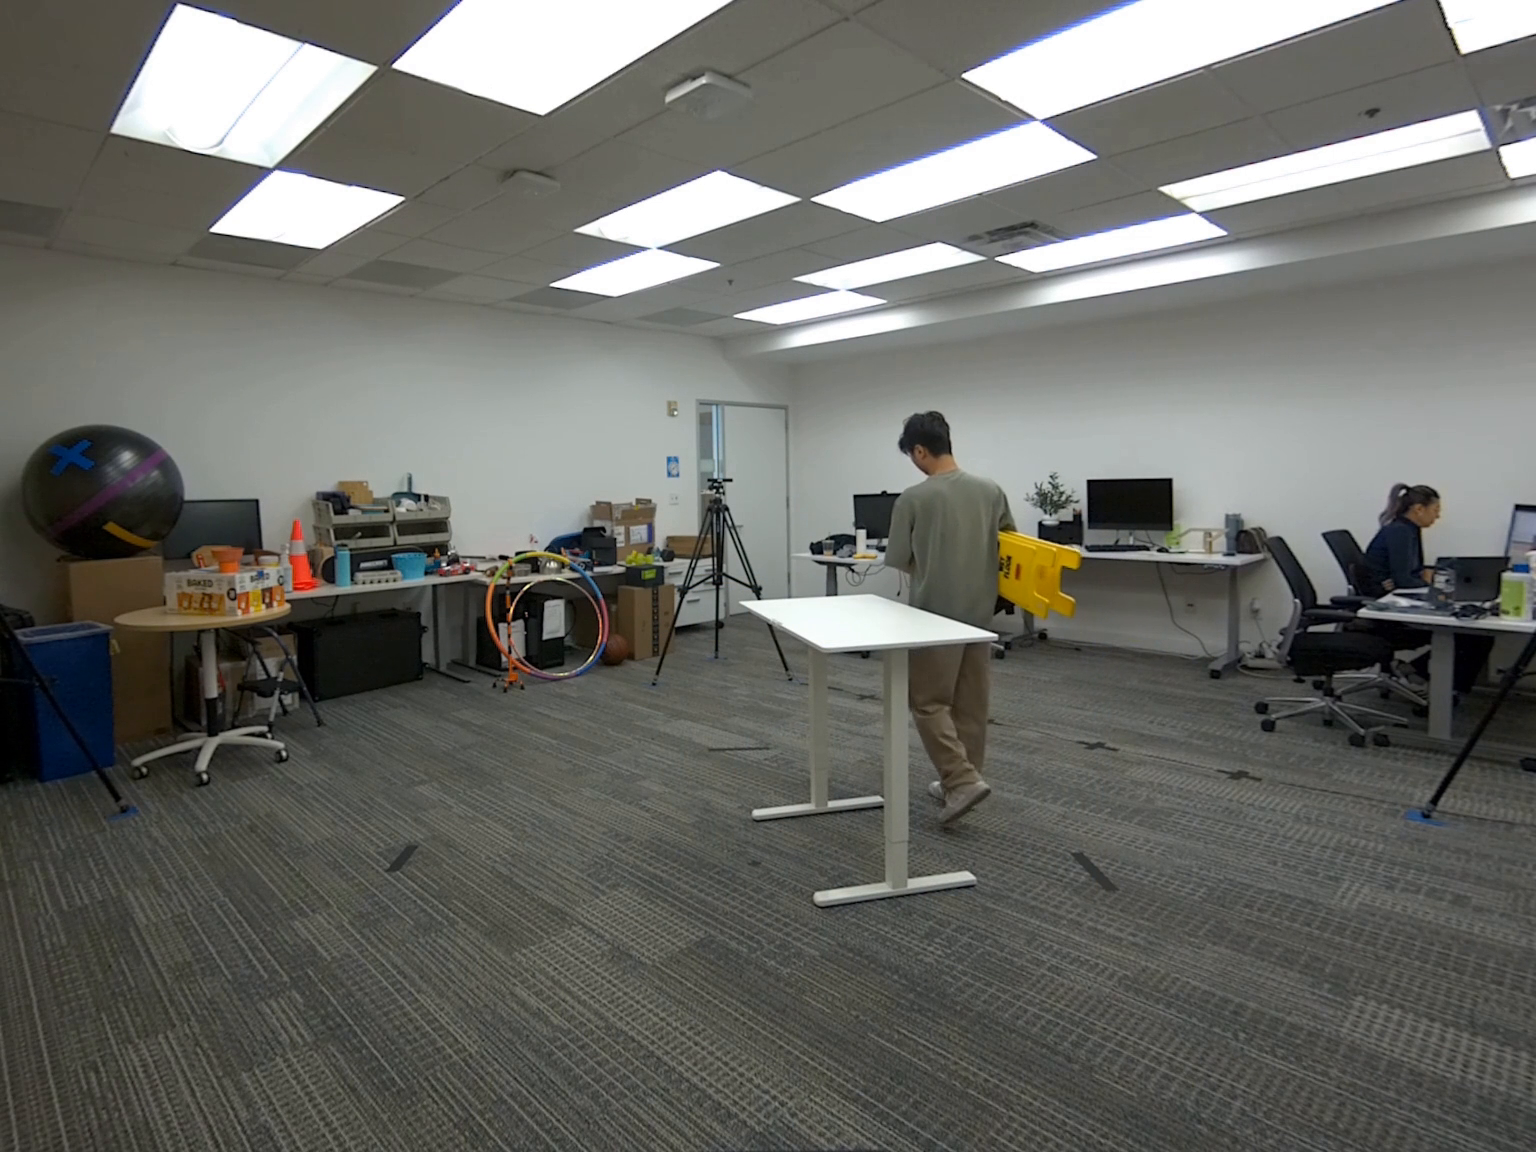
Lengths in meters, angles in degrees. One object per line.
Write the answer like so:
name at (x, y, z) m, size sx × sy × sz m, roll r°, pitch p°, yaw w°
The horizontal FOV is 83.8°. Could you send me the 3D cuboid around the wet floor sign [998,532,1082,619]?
wet floor sign at (0.970, -0.054, 3.531) m, size 0.283 × 0.279 × 0.669 m, roll -4°, pitch 19°, yaw -29°
